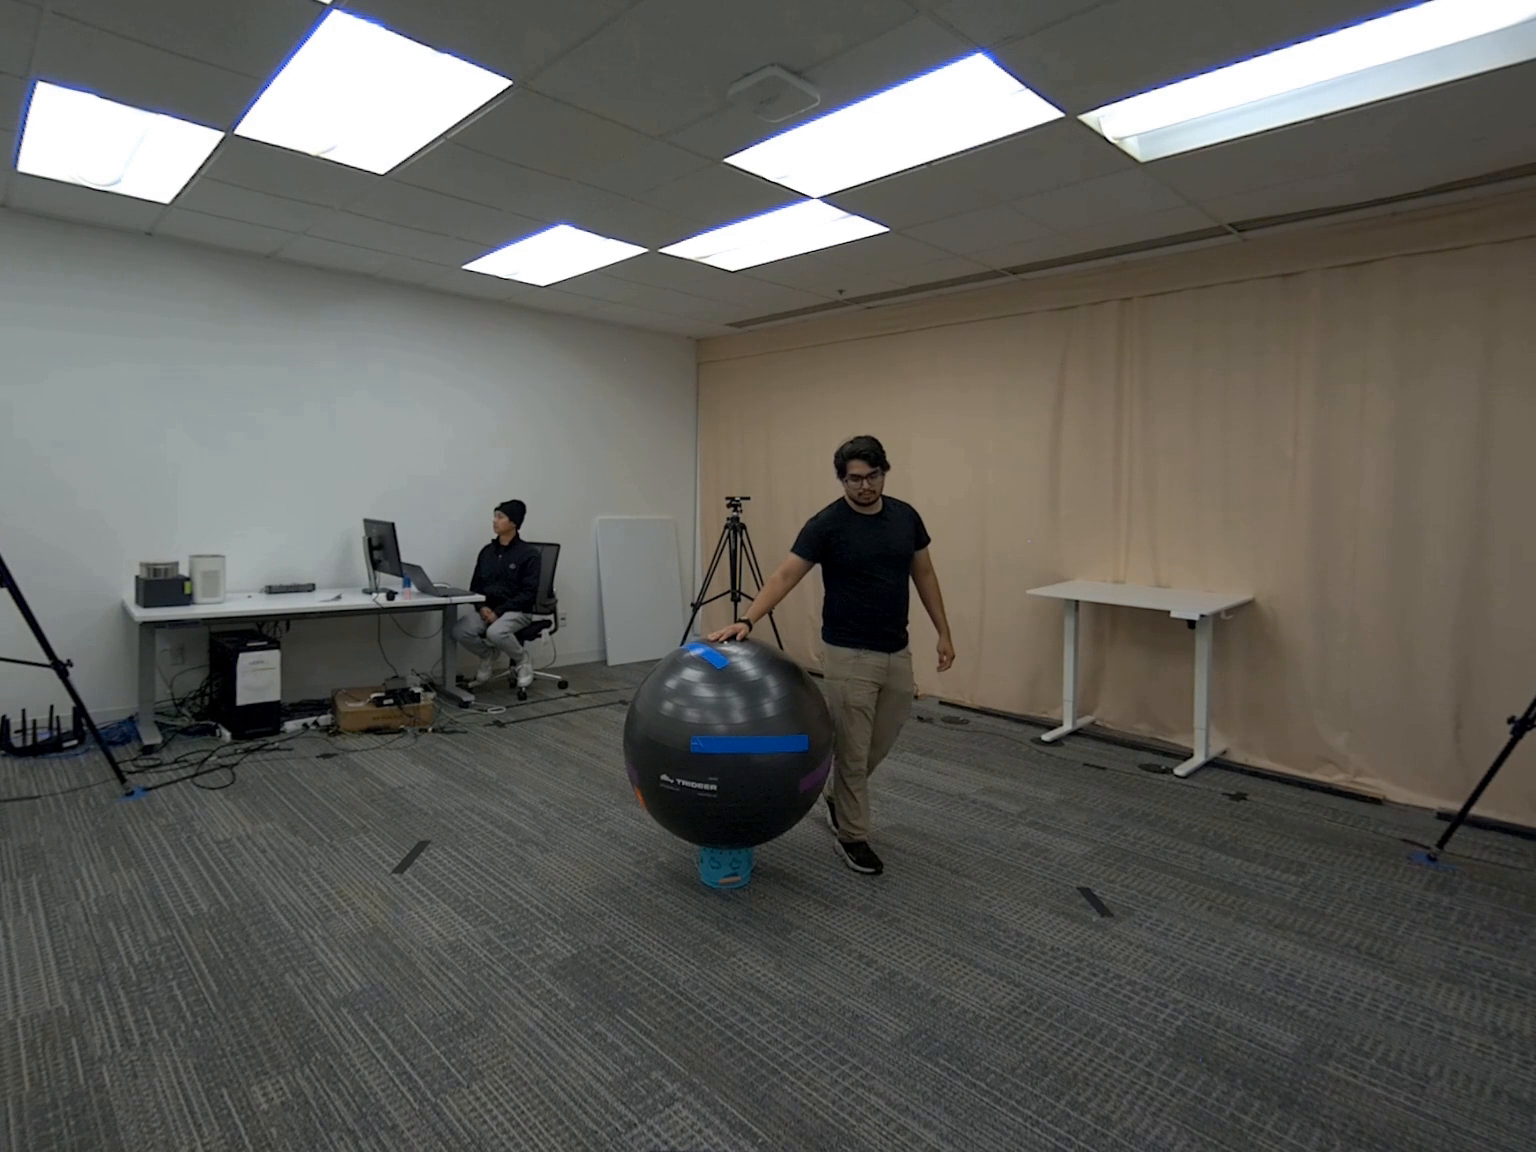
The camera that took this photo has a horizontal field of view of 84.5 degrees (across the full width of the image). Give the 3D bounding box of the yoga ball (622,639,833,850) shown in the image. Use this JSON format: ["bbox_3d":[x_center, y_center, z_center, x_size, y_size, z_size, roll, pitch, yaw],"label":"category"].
[{"bbox_3d":[-0.151,0.604,3.054,0.757,0.756,0.760,1,4,-1],"label":"yoga ball"}]
